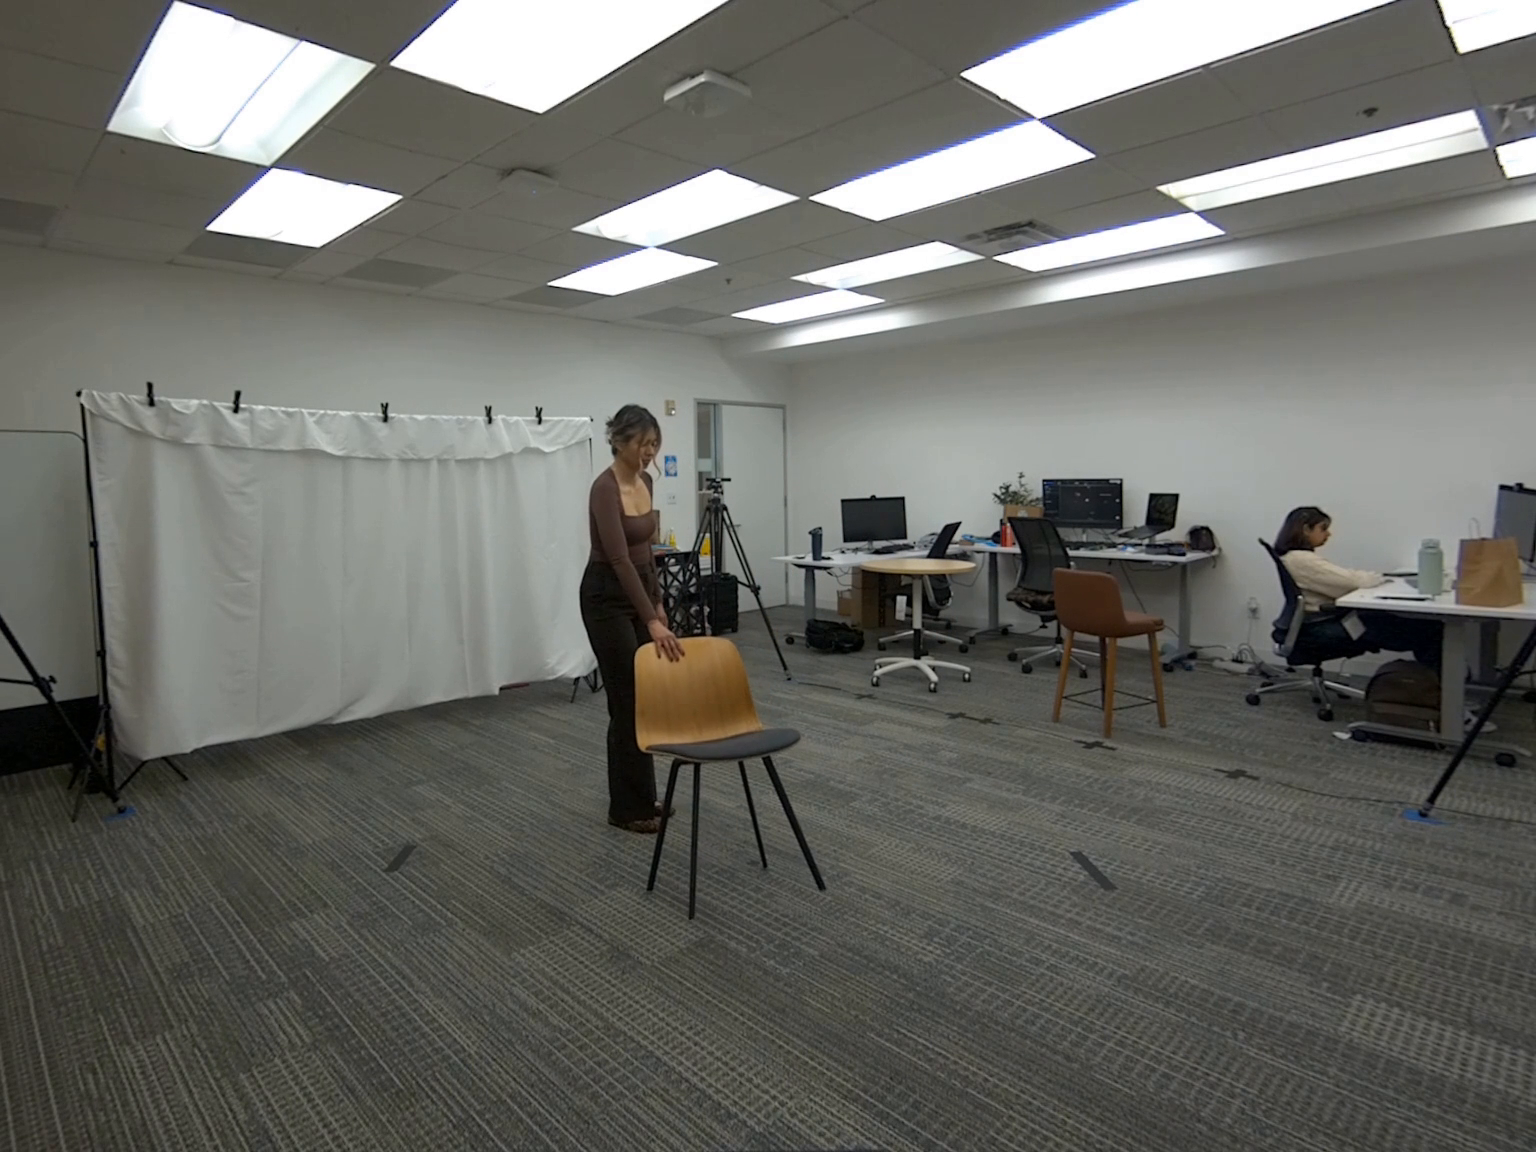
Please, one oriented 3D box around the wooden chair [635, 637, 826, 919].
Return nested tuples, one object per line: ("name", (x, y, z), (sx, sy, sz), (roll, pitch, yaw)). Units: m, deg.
("wooden chair", (-0.162, 0.604, 2.841), (0.468, 0.889, 0.527), (-2, -14, -24))
